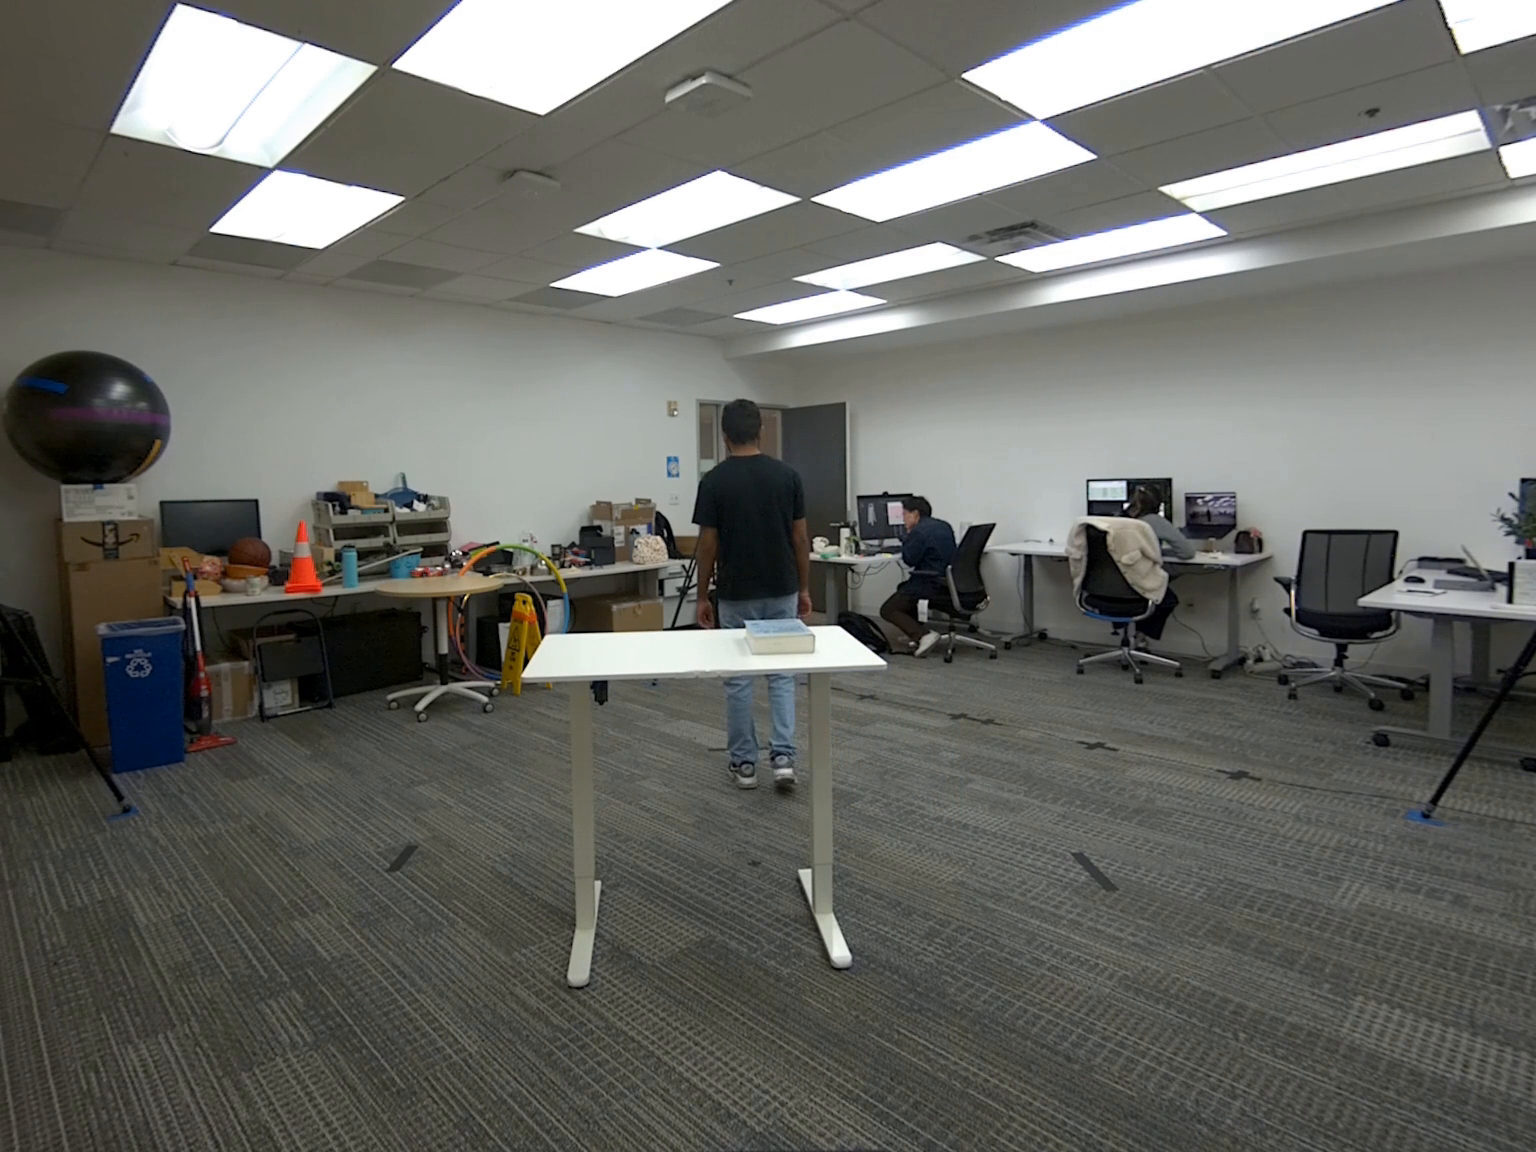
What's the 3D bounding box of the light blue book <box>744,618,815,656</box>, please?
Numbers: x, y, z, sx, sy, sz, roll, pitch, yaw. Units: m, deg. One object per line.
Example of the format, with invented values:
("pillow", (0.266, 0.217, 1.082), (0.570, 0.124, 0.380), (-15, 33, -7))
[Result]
("light blue book", (0.032, 0.193, 2.647), (0.190, 0.059, 0.263), (-2, 7, -6))
